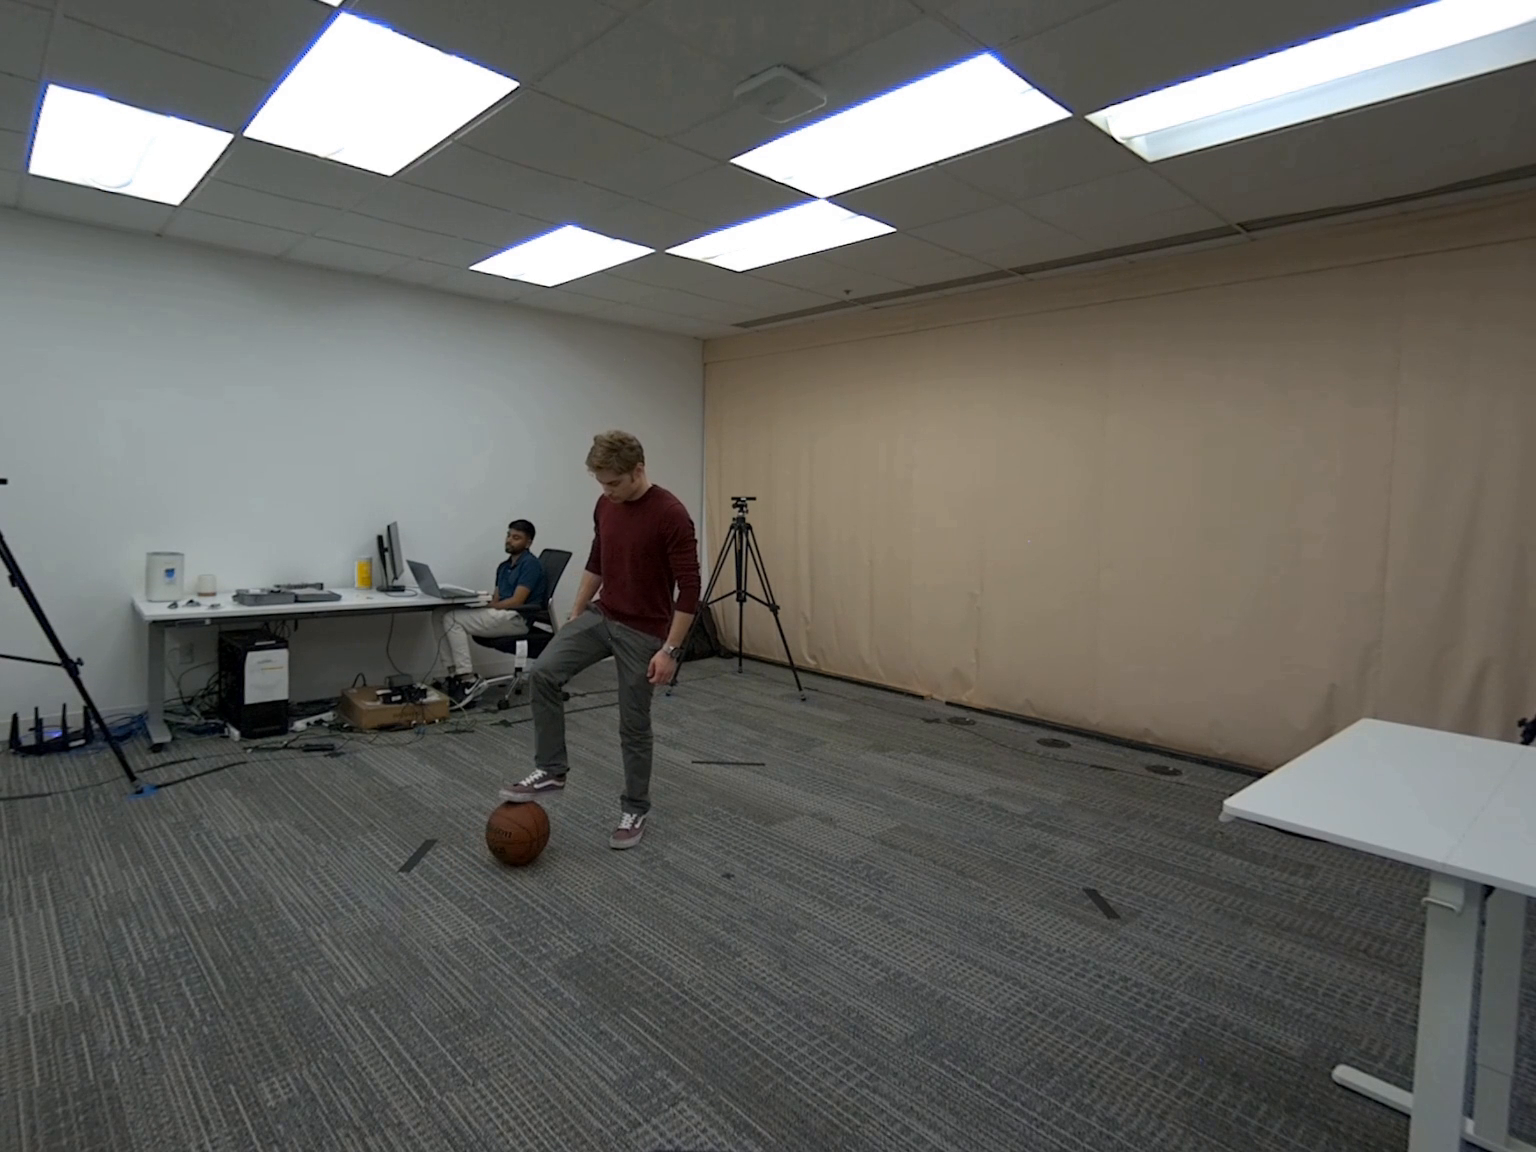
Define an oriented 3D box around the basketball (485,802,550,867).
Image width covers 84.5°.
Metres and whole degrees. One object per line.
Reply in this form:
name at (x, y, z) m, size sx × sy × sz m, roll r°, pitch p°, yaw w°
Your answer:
basketball at (-0.952, 0.966, 3.180) m, size 0.236 × 0.235 × 0.237 m, roll 1°, pitch 4°, yaw -1°
